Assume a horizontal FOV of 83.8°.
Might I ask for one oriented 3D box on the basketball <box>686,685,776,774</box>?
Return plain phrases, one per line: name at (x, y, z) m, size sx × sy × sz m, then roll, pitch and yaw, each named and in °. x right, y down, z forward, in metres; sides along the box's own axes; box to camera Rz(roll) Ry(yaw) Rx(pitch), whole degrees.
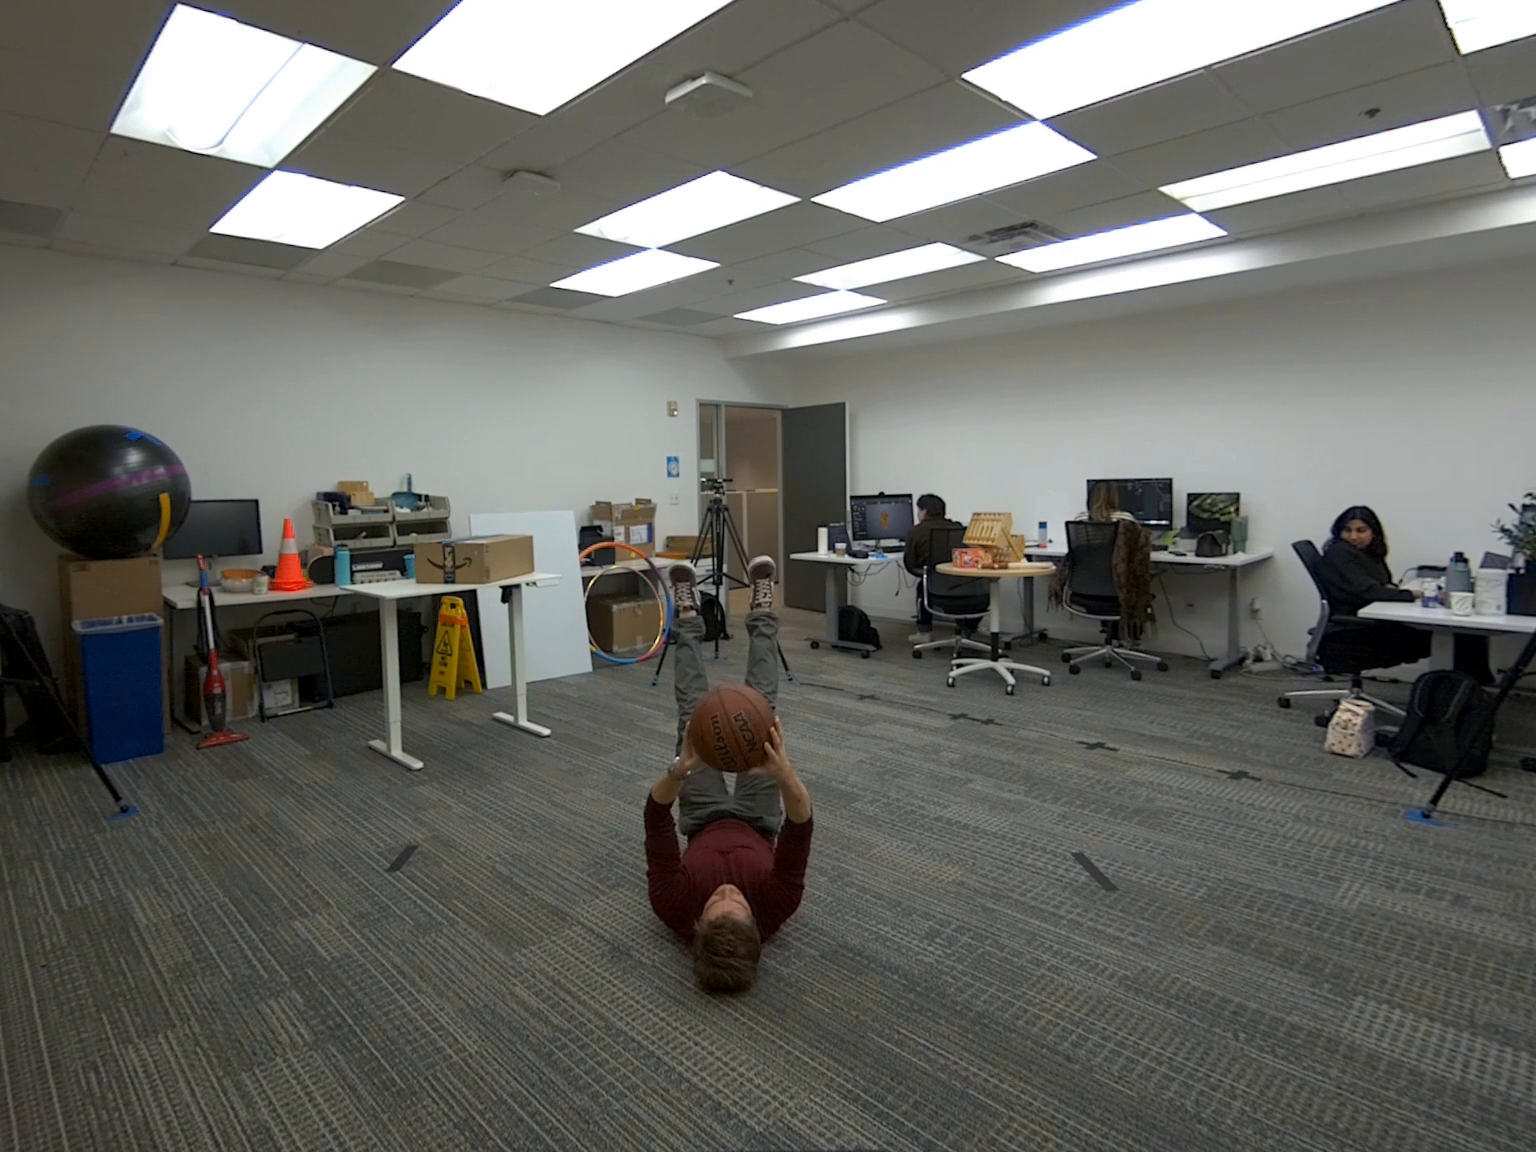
basketball at (-0.091, 0.415, 2.346) m, size 0.236 × 0.235 × 0.237 m, roll -1°, pitch 5°, yaw -2°
